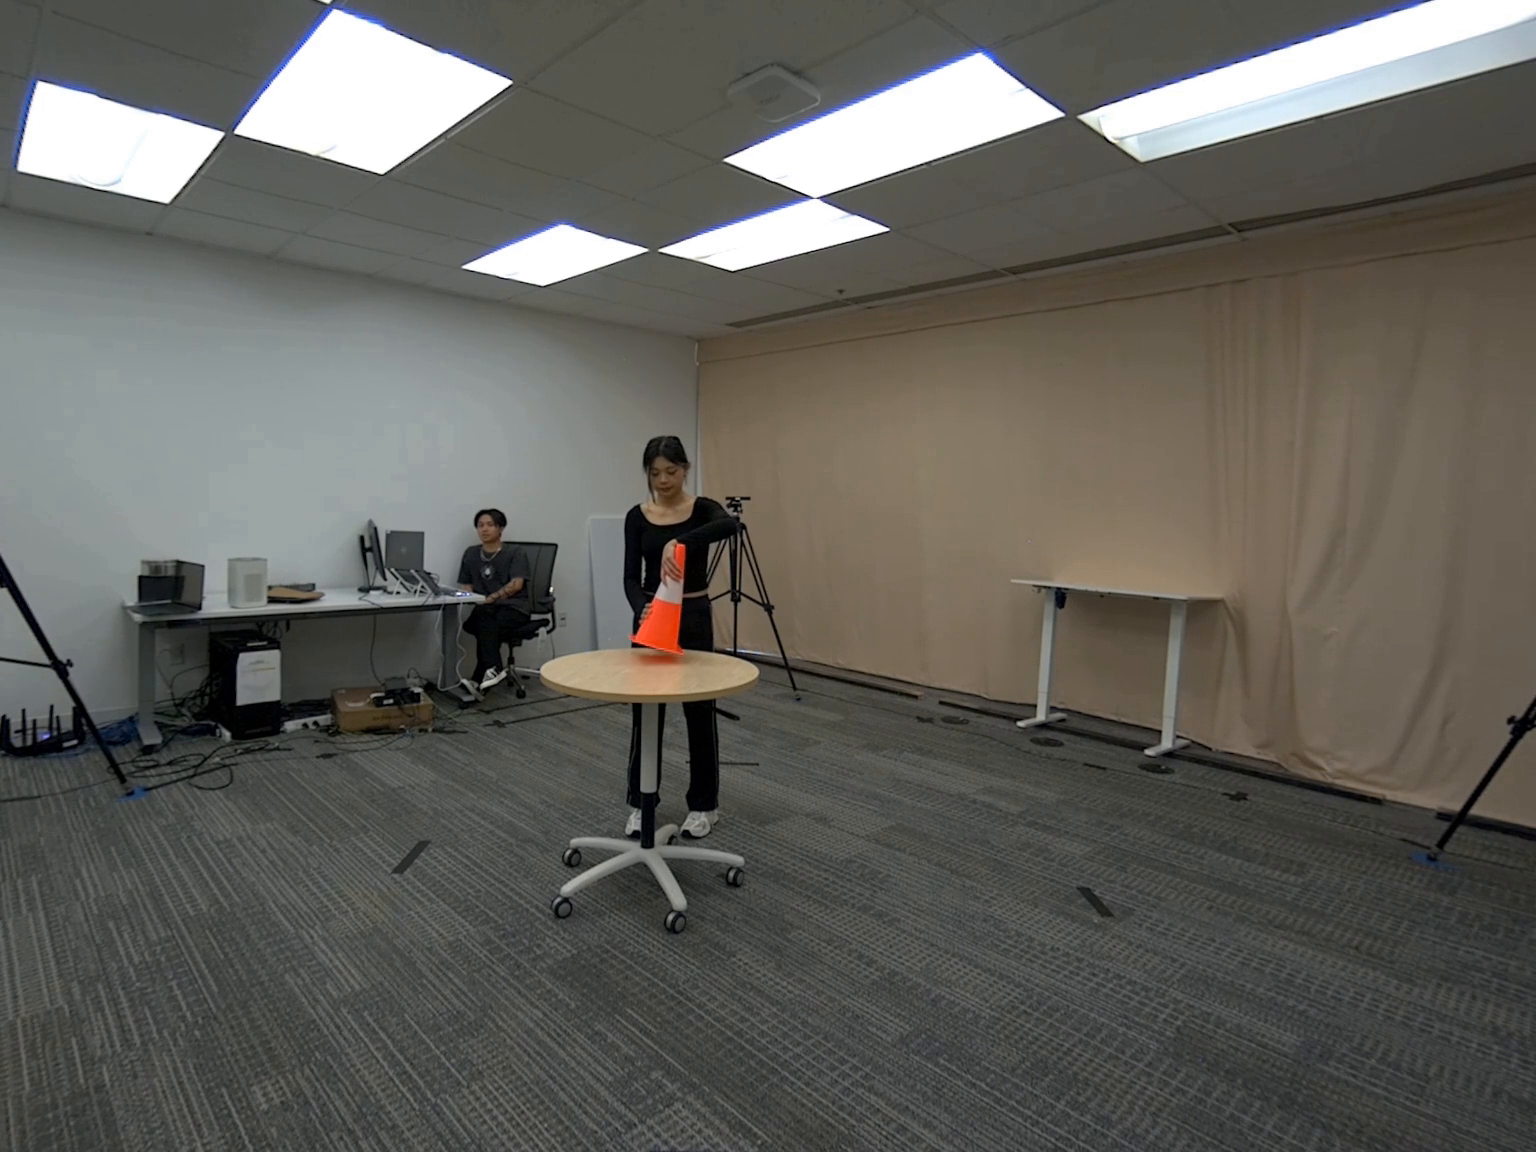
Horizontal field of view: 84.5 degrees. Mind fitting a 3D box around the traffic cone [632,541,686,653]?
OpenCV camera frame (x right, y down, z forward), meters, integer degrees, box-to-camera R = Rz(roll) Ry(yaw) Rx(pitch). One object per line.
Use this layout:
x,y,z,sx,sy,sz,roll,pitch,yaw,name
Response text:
-0.389,0.068,3.124,0.202,0.383,0.206,12,2,-16,traffic cone
